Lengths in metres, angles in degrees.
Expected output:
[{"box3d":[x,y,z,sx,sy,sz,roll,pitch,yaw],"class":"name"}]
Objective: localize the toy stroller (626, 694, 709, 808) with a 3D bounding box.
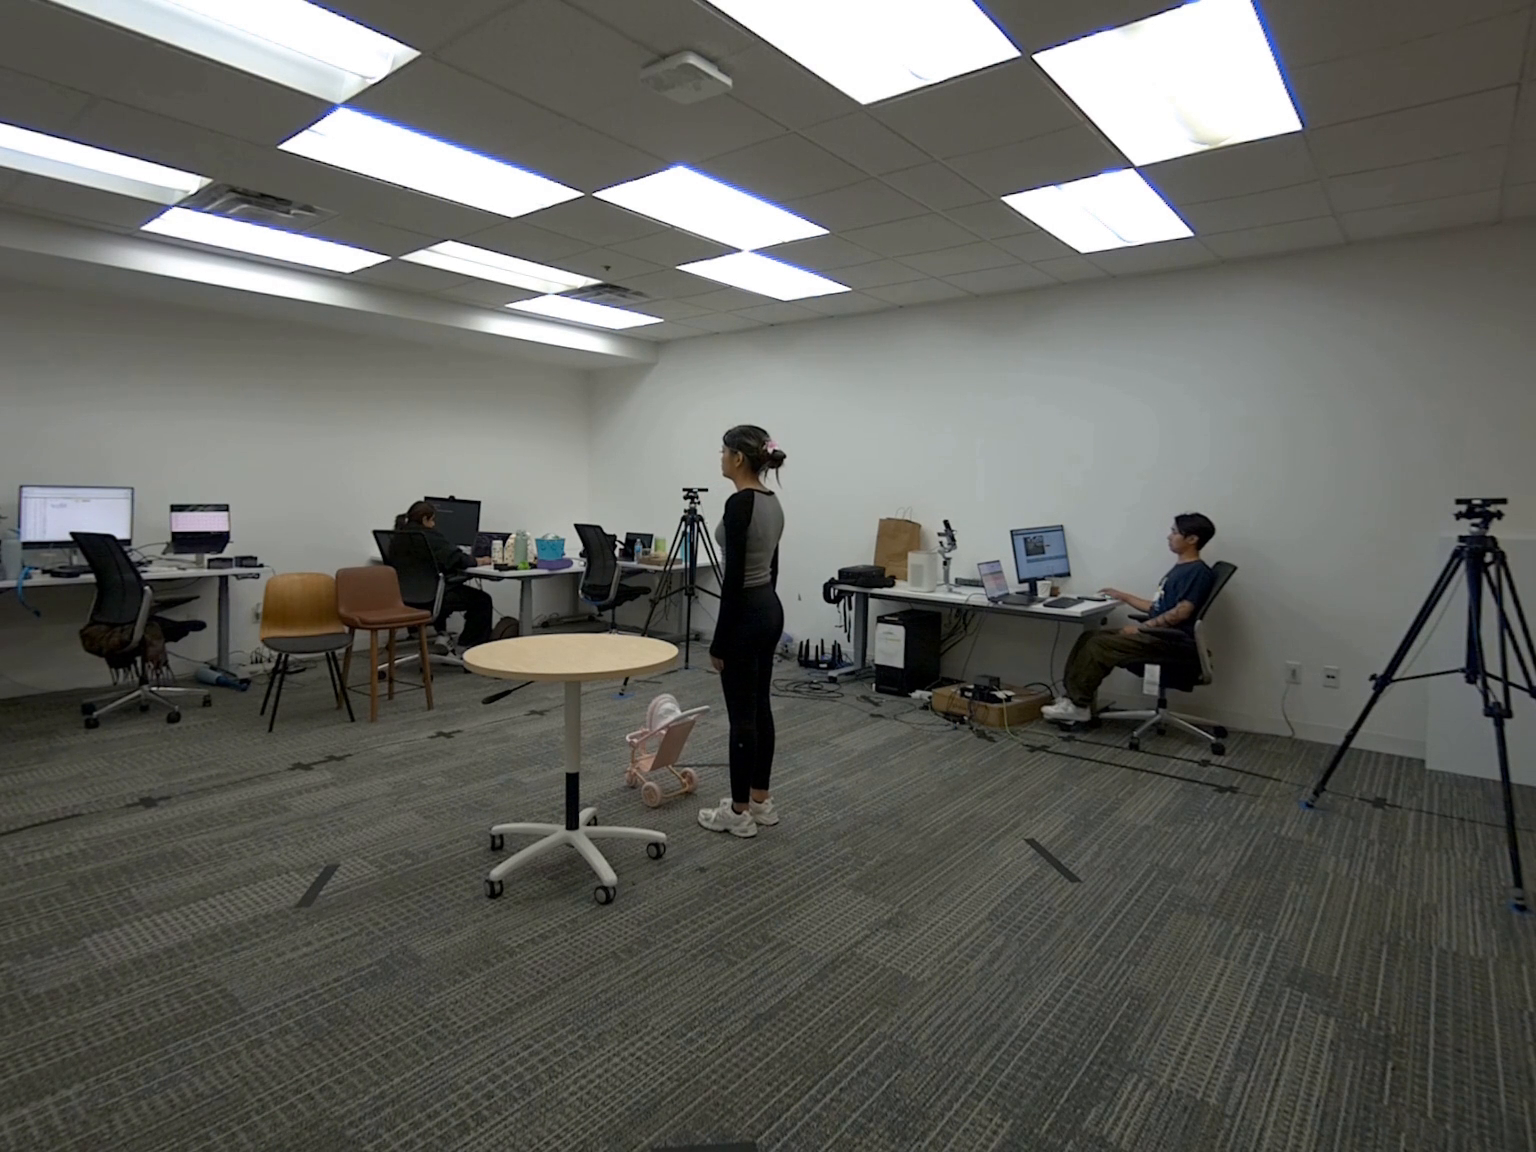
[{"box3d":[-0.496,0.769,3.846,0.355,0.530,0.273,23,17,39],"class":"toy stroller"}]
